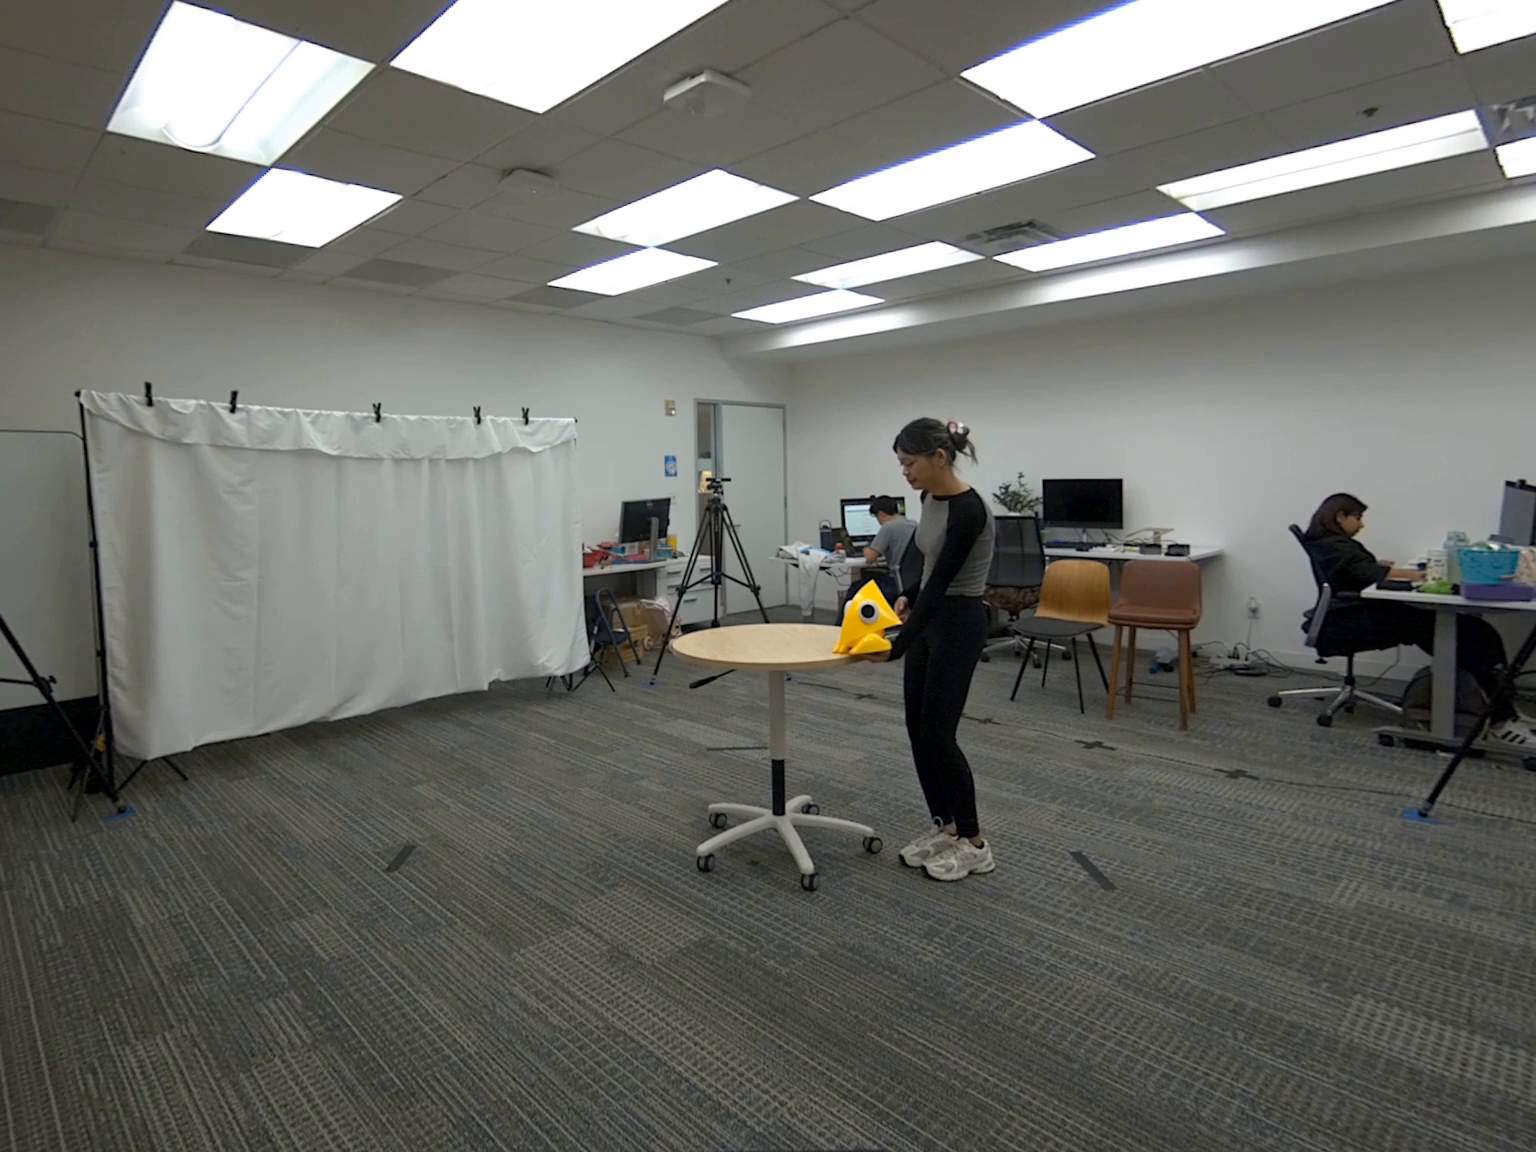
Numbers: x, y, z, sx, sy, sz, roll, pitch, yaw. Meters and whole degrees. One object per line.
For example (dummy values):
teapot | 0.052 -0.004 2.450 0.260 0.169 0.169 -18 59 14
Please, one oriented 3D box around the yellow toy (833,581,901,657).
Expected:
yellow toy | 0.322 0.134 2.894 0.189 0.231 0.208 -6 -1 -25
